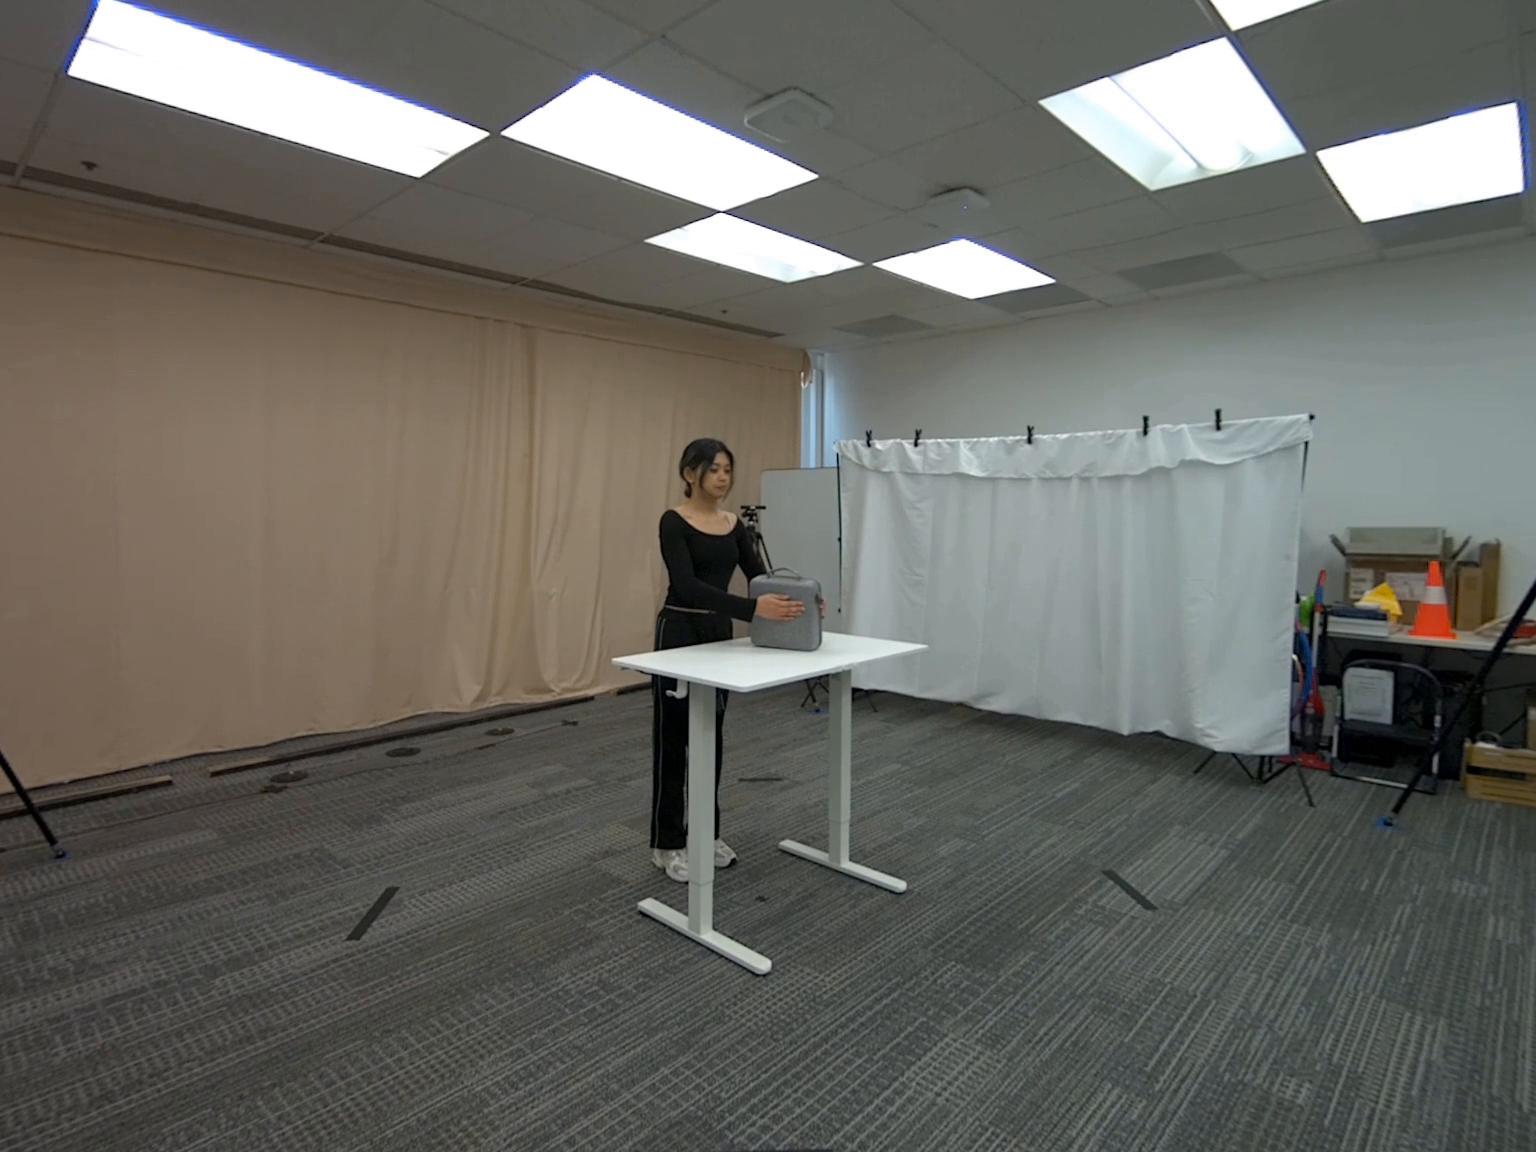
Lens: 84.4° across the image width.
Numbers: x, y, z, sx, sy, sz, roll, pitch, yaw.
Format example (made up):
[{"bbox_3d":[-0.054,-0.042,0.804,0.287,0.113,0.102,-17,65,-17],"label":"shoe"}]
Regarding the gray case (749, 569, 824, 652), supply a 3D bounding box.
[{"bbox_3d":[0.068,0.130,2.996,0.263,0.259,0.102,3,9,25],"label":"gray case"}]
